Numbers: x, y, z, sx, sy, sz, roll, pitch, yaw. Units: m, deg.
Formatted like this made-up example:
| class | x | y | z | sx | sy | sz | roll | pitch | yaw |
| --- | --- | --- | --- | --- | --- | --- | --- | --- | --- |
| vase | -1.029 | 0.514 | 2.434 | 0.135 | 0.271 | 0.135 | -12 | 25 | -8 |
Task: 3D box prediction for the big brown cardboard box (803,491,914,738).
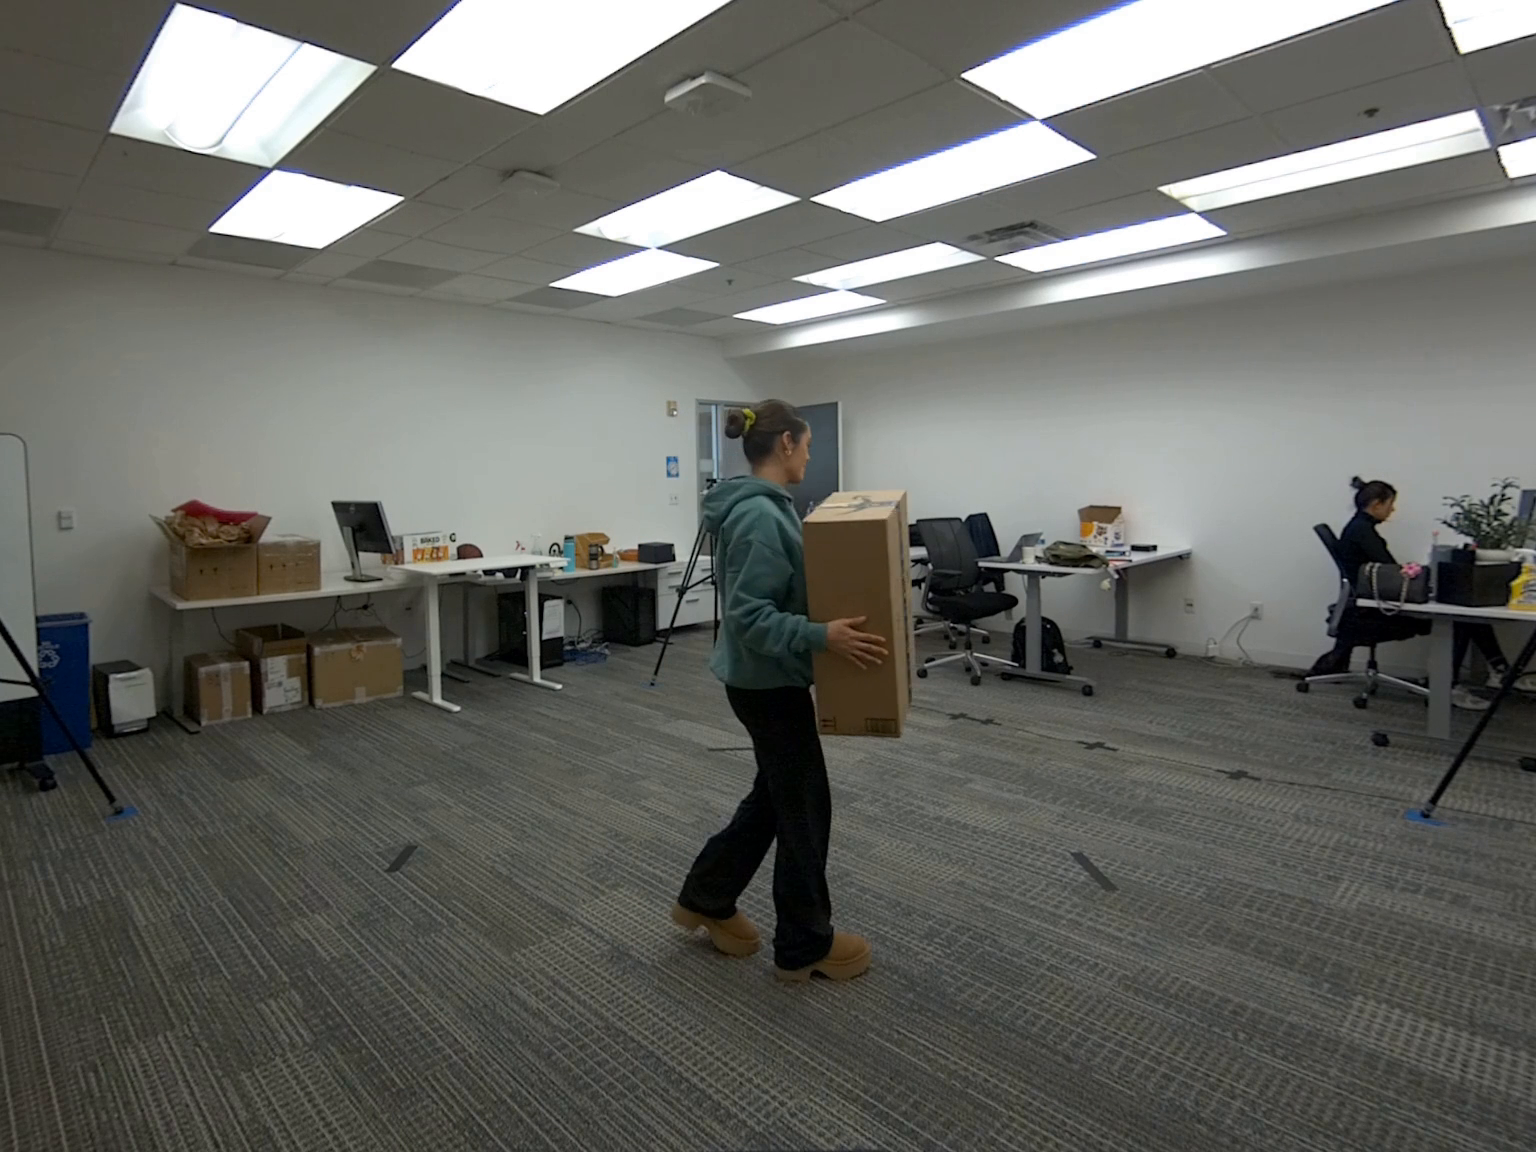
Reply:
| class | x | y | z | sx | sy | sz | roll | pitch | yaw |
| --- | --- | --- | --- | --- | --- | --- | --- | --- | --- |
| big brown cardboard box | 0.258 | 0.090 | 2.333 | 0.237 | 0.582 | 0.415 | -1 | 12 | 17 |
